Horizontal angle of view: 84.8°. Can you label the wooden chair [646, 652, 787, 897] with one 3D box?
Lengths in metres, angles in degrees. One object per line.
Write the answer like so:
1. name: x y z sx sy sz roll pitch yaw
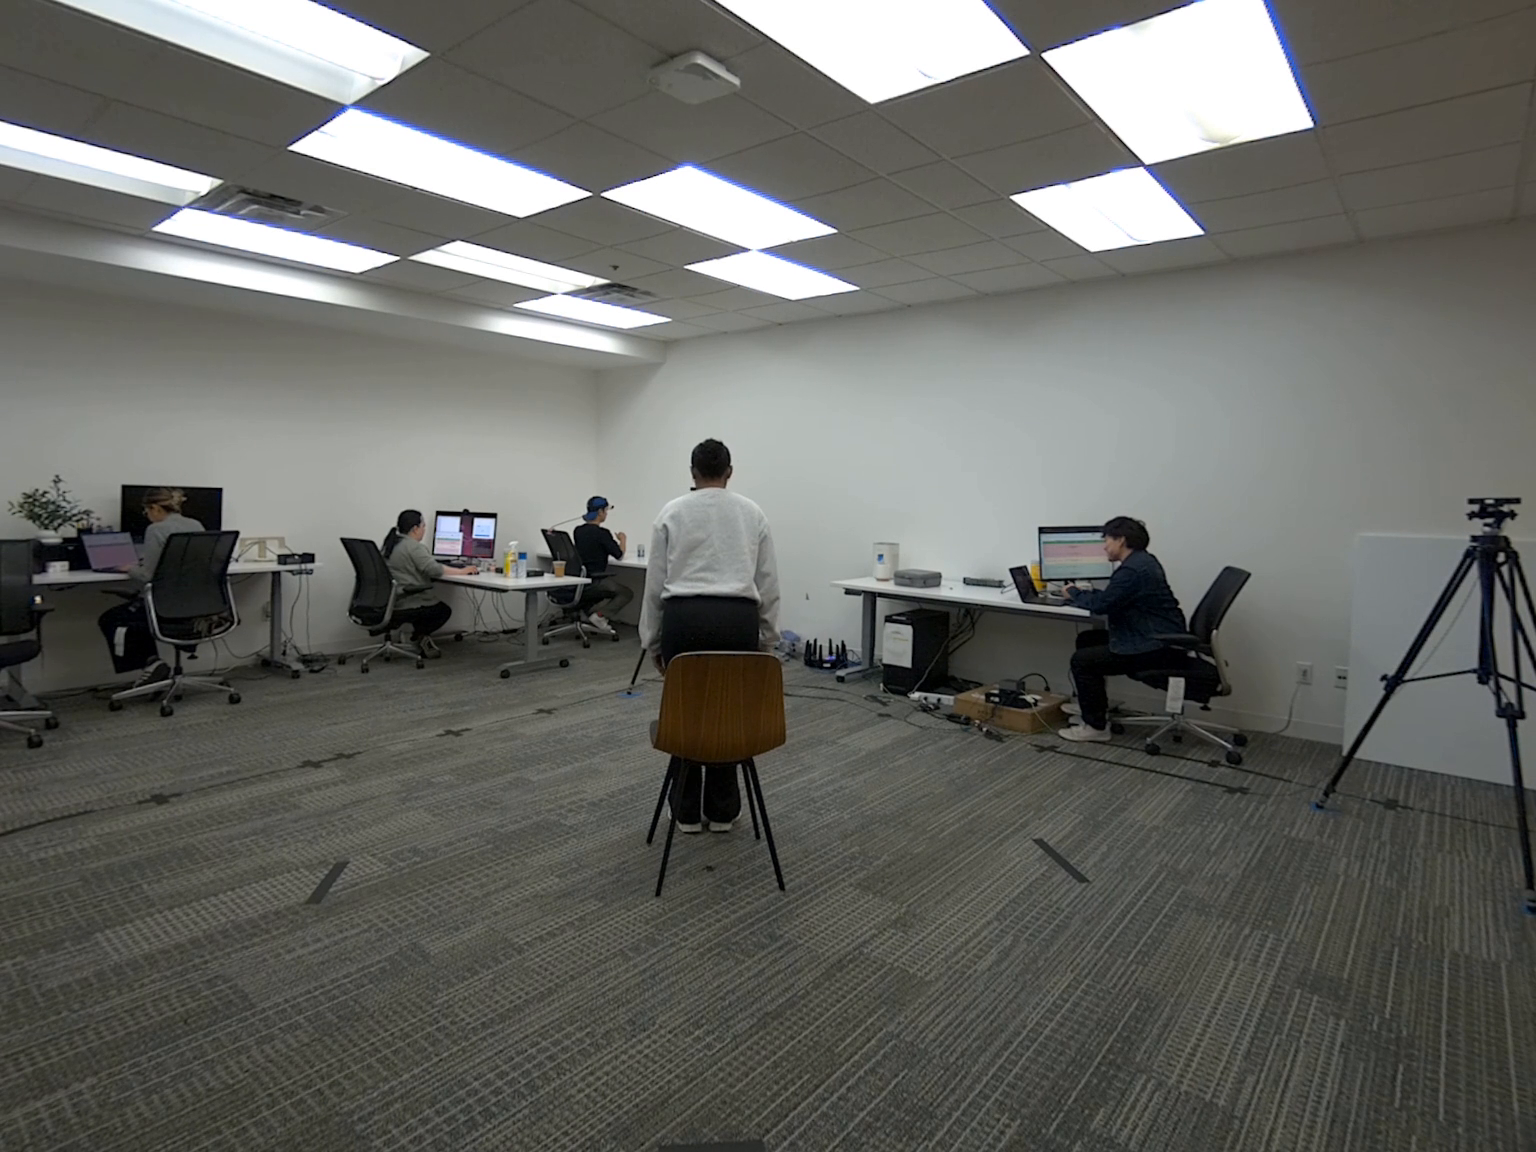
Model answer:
1. wooden chair: -0.210 0.634 3.111 0.473 0.872 0.532 0 7 -11
